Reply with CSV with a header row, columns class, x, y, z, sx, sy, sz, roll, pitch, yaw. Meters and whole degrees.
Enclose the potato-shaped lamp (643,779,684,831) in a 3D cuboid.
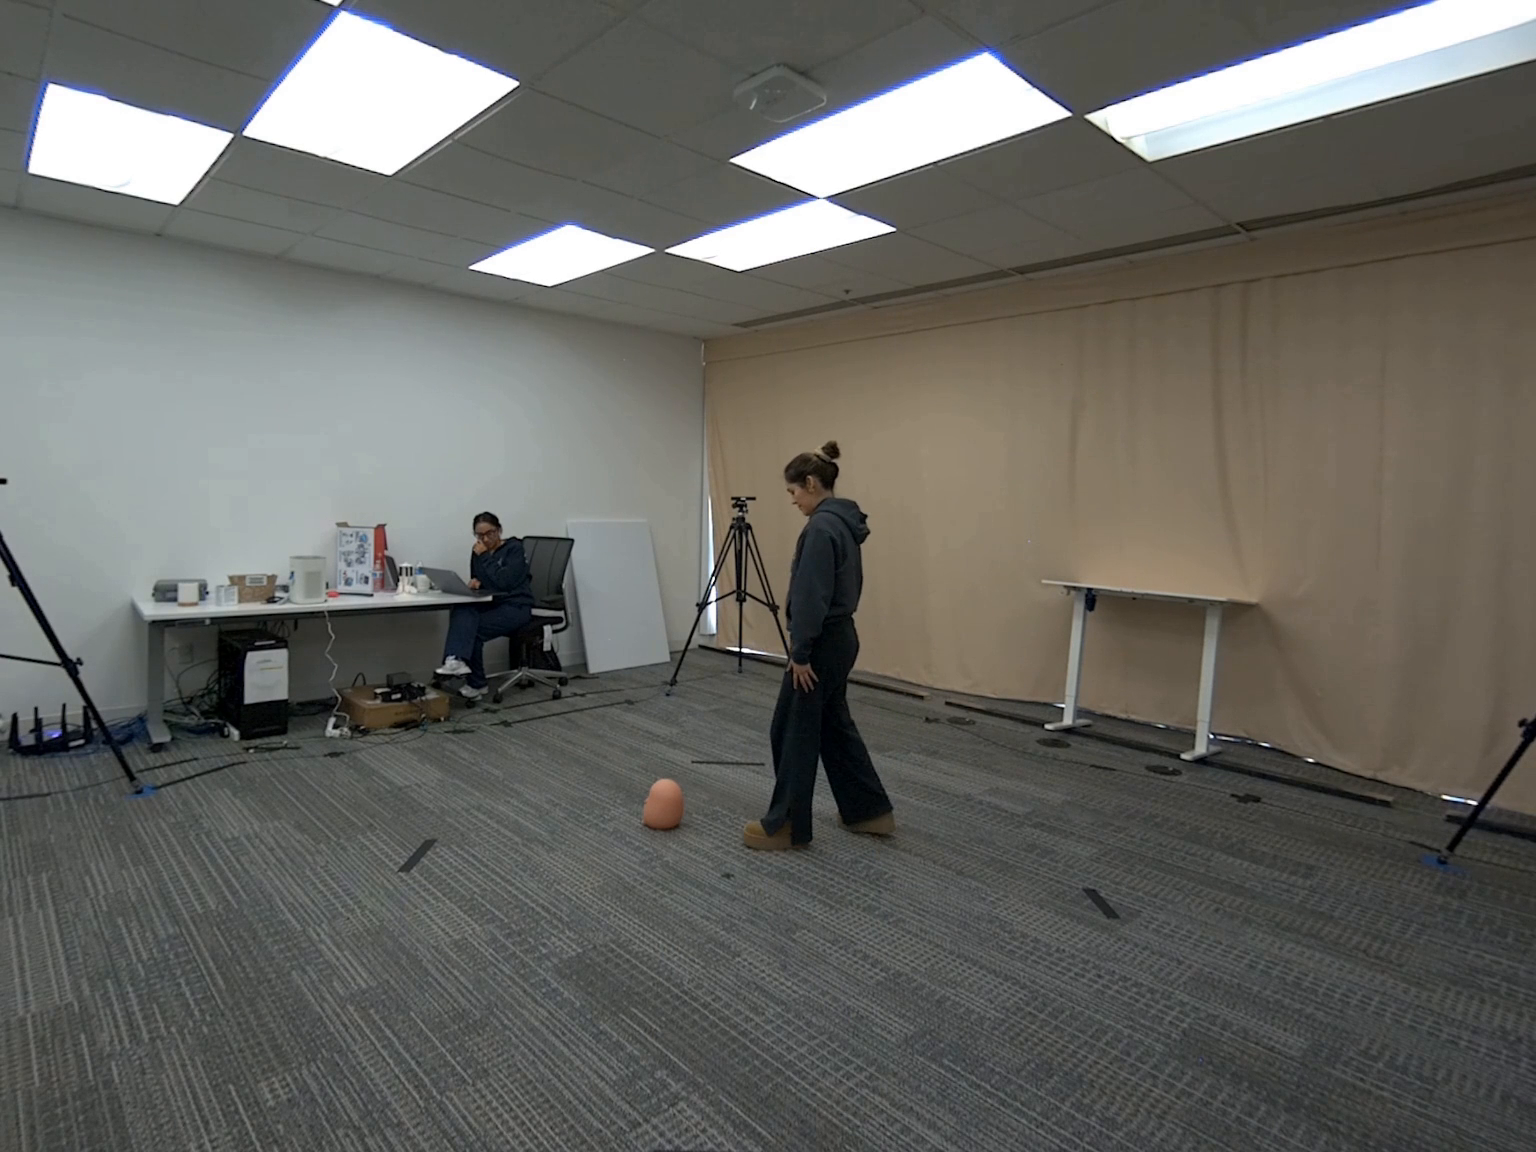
class,x,y,z,sx,sy,sz,roll,pitch,yaw
potato-shaped lamp,-0.449,0.951,3.573,0.175,0.198,0.161,3,4,38
